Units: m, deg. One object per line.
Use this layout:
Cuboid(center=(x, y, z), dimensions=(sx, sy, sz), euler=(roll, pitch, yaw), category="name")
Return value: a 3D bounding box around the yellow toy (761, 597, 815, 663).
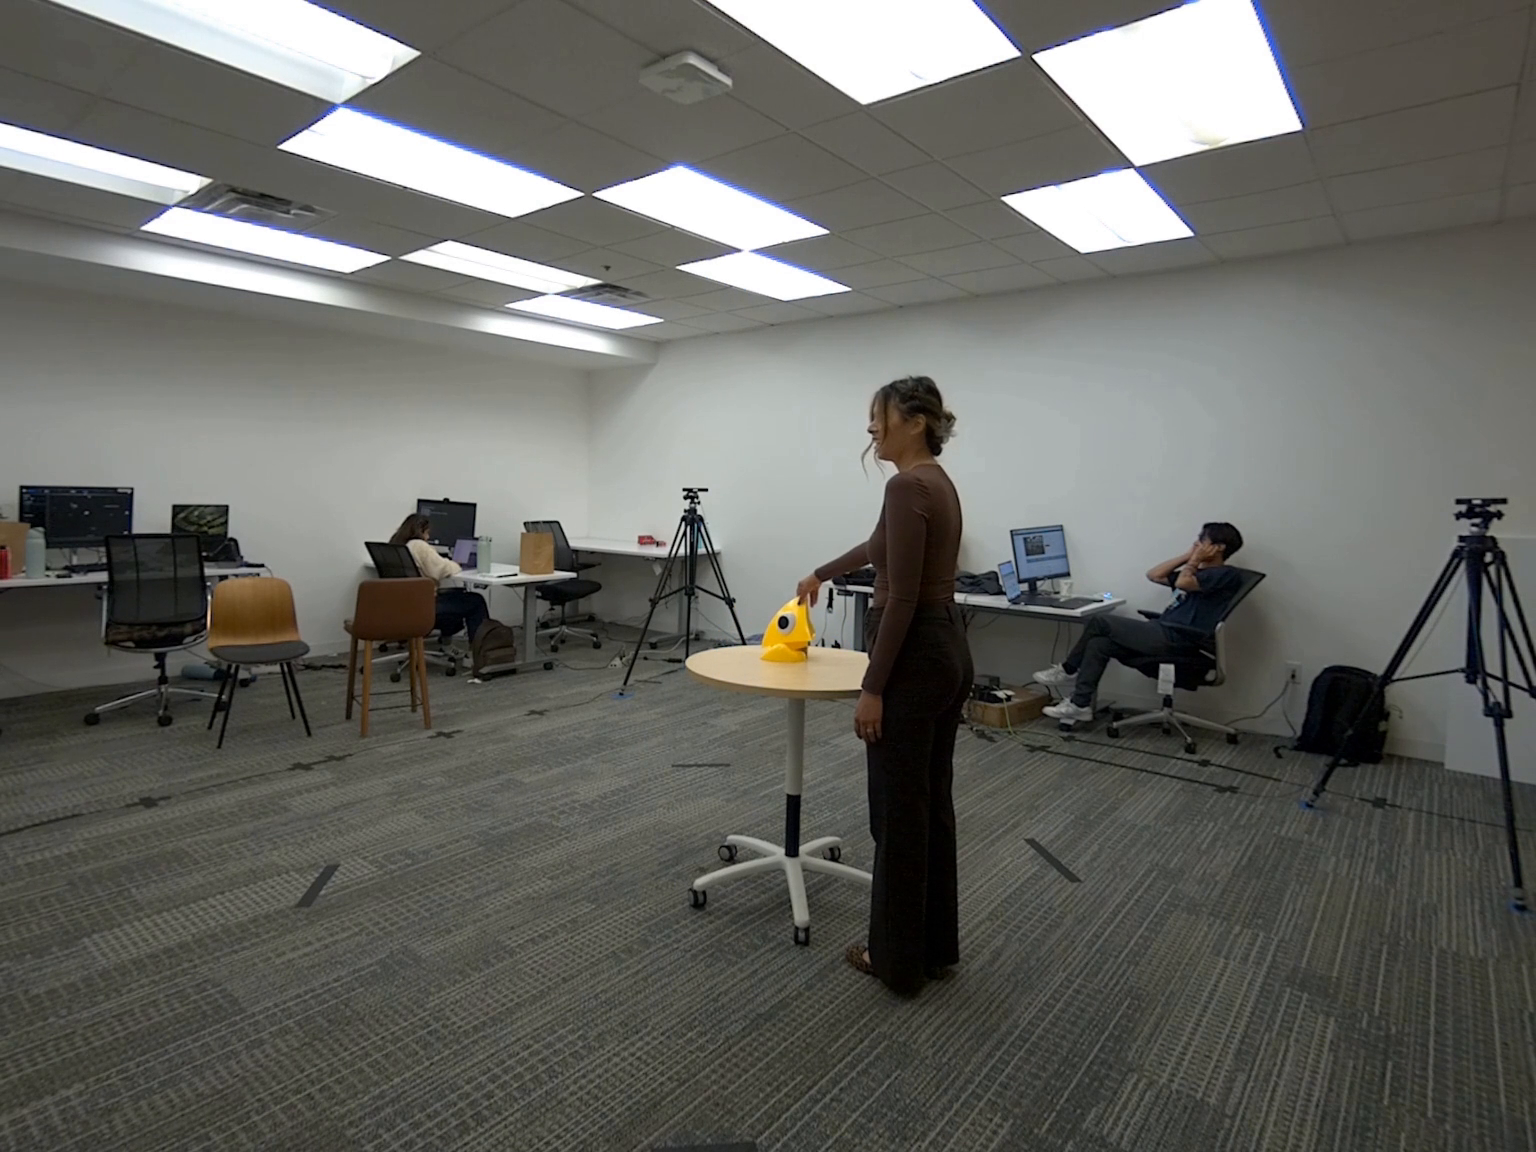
Cuboid(center=(0.065, 0.171, 3.033), dimensions=(0.195, 0.230, 0.203), euler=(2, 2, 9), category="yellow toy")
